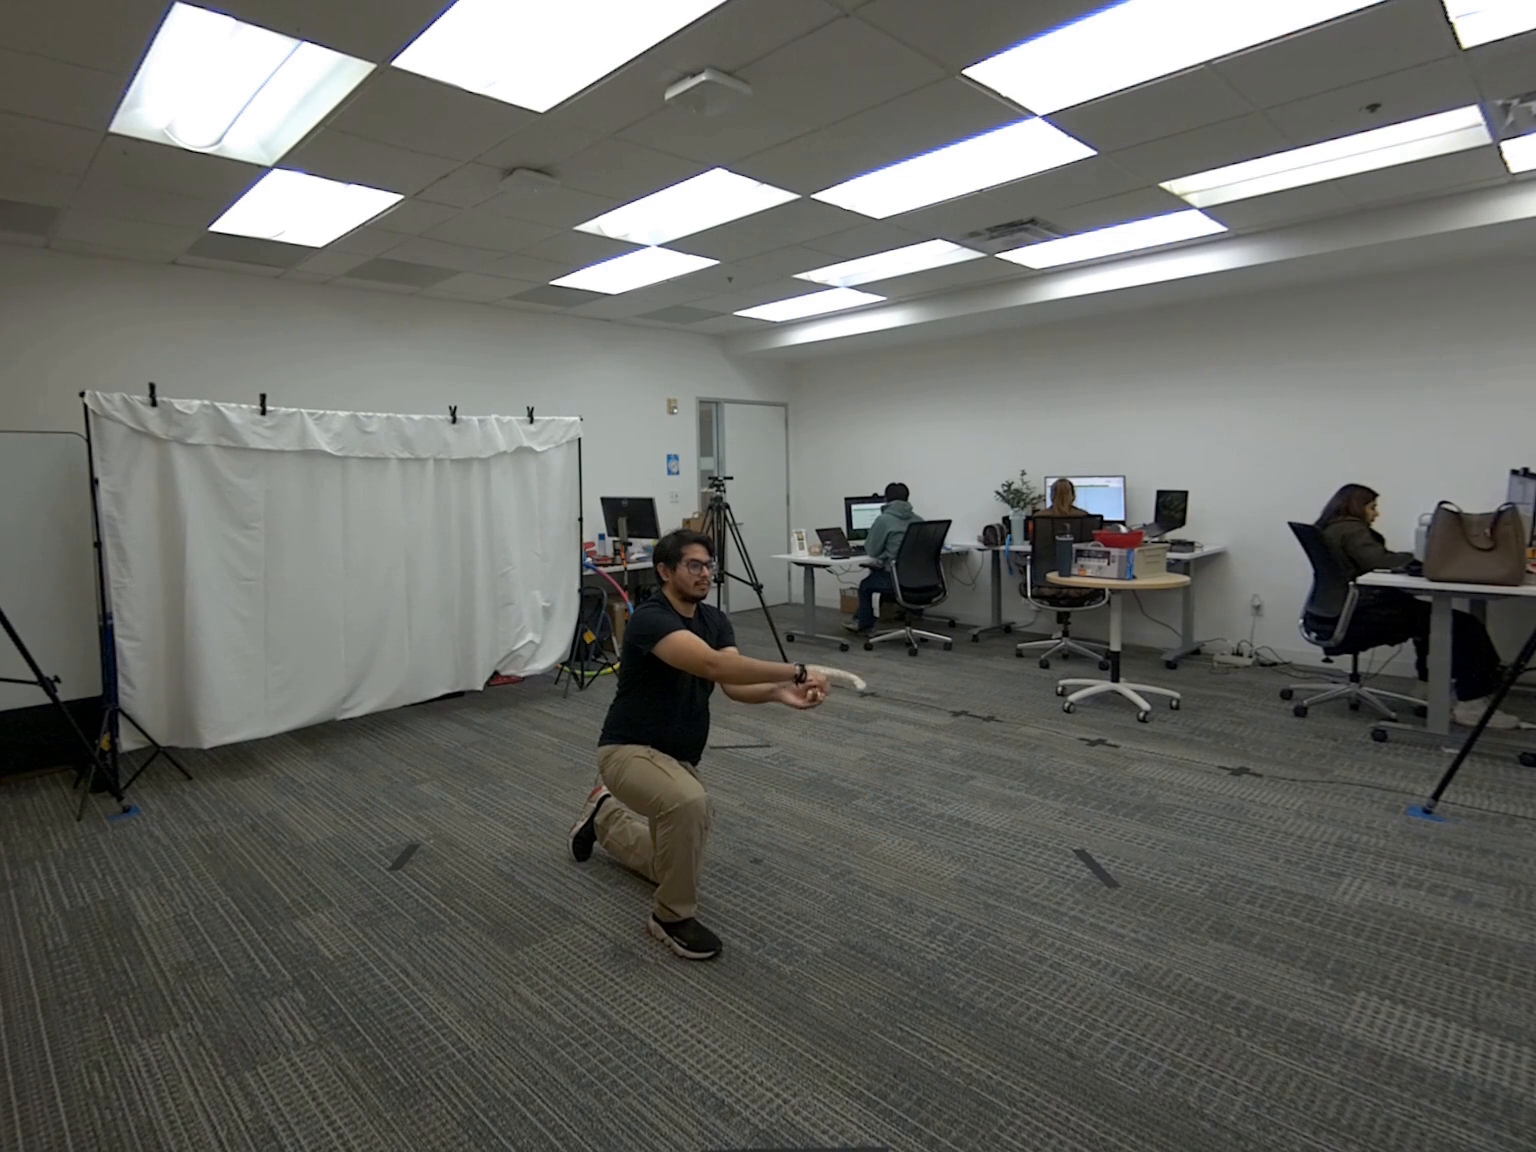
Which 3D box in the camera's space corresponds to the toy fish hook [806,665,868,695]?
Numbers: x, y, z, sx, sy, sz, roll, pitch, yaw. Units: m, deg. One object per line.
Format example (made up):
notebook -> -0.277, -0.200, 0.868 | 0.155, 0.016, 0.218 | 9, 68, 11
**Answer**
toy fish hook -> 0.213, 0.350, 2.713 | 0.226, 0.048, 0.504 | 6, 4, 5
